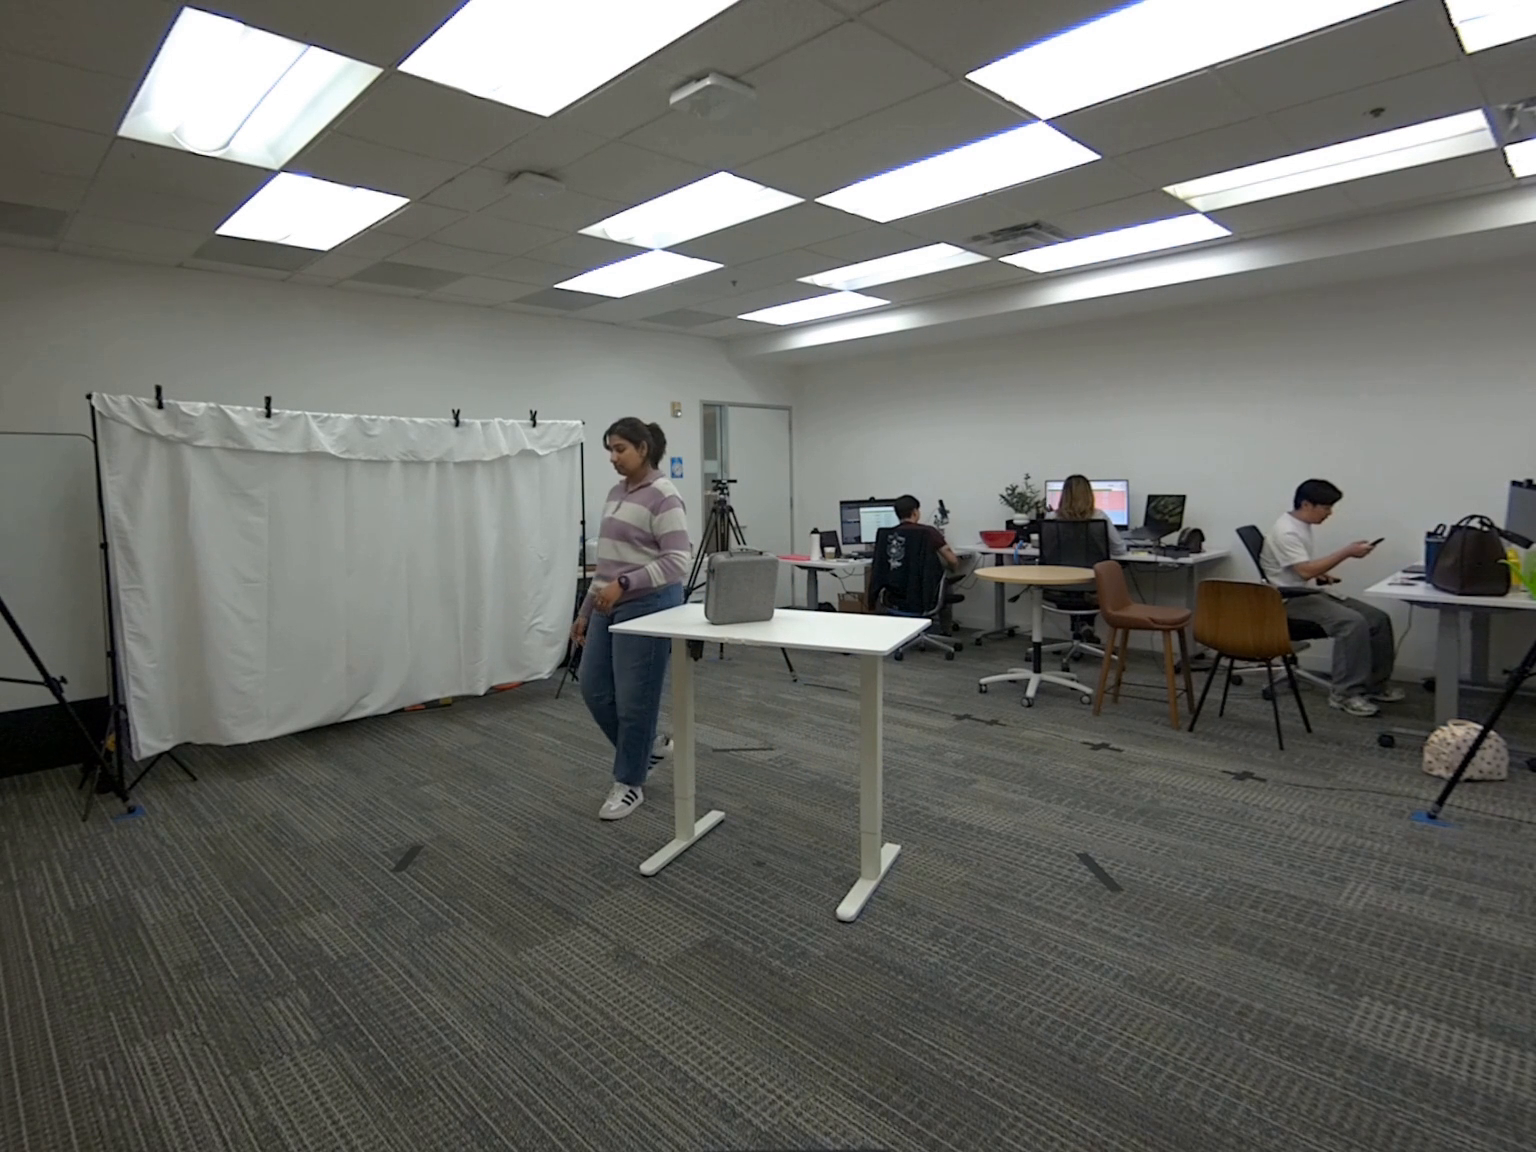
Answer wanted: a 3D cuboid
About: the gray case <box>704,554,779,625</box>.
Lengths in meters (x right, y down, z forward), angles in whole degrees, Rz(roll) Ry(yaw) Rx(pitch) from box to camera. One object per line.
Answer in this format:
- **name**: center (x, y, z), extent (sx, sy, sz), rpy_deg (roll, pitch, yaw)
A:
- **gray case**: center (-0.091, 0.036, 3.071), extent (0.252, 0.257, 0.108), rpy_deg (-3, 16, -22)
